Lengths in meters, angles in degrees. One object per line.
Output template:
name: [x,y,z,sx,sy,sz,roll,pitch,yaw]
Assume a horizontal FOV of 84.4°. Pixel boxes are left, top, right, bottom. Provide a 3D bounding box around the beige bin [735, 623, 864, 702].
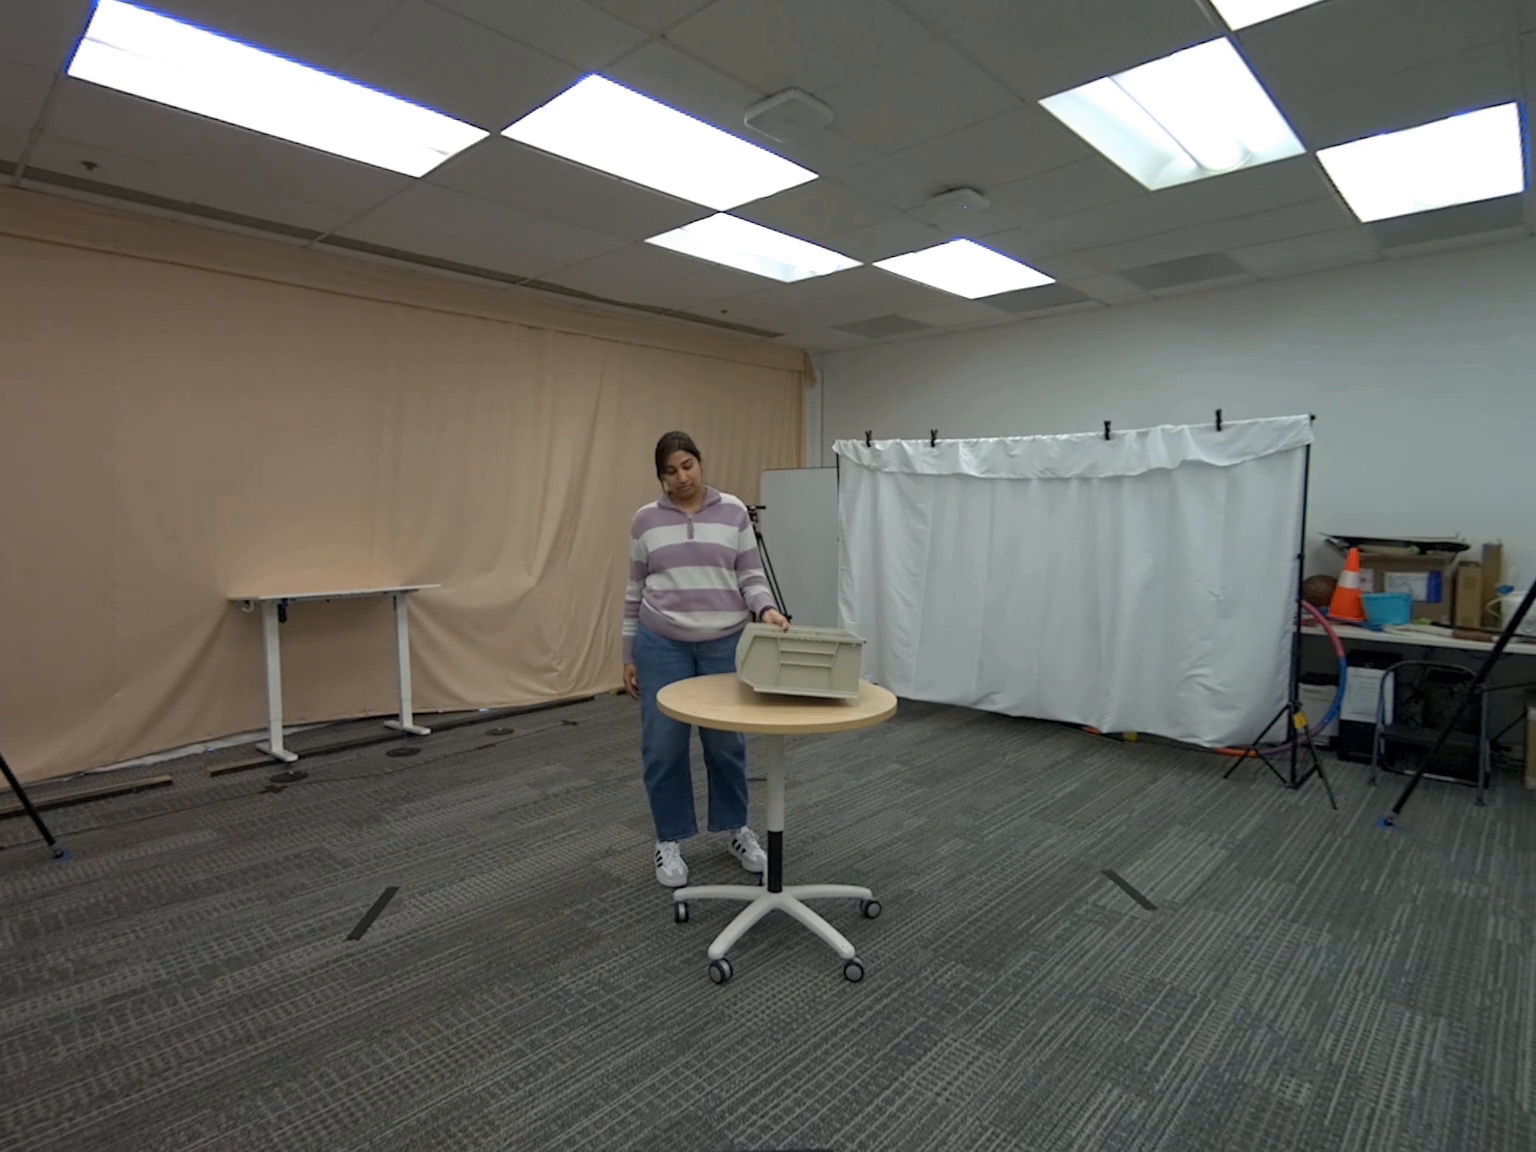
beige bin: [0.091,0.272,2.729,0.377,0.189,0.422,4,0,-1]
